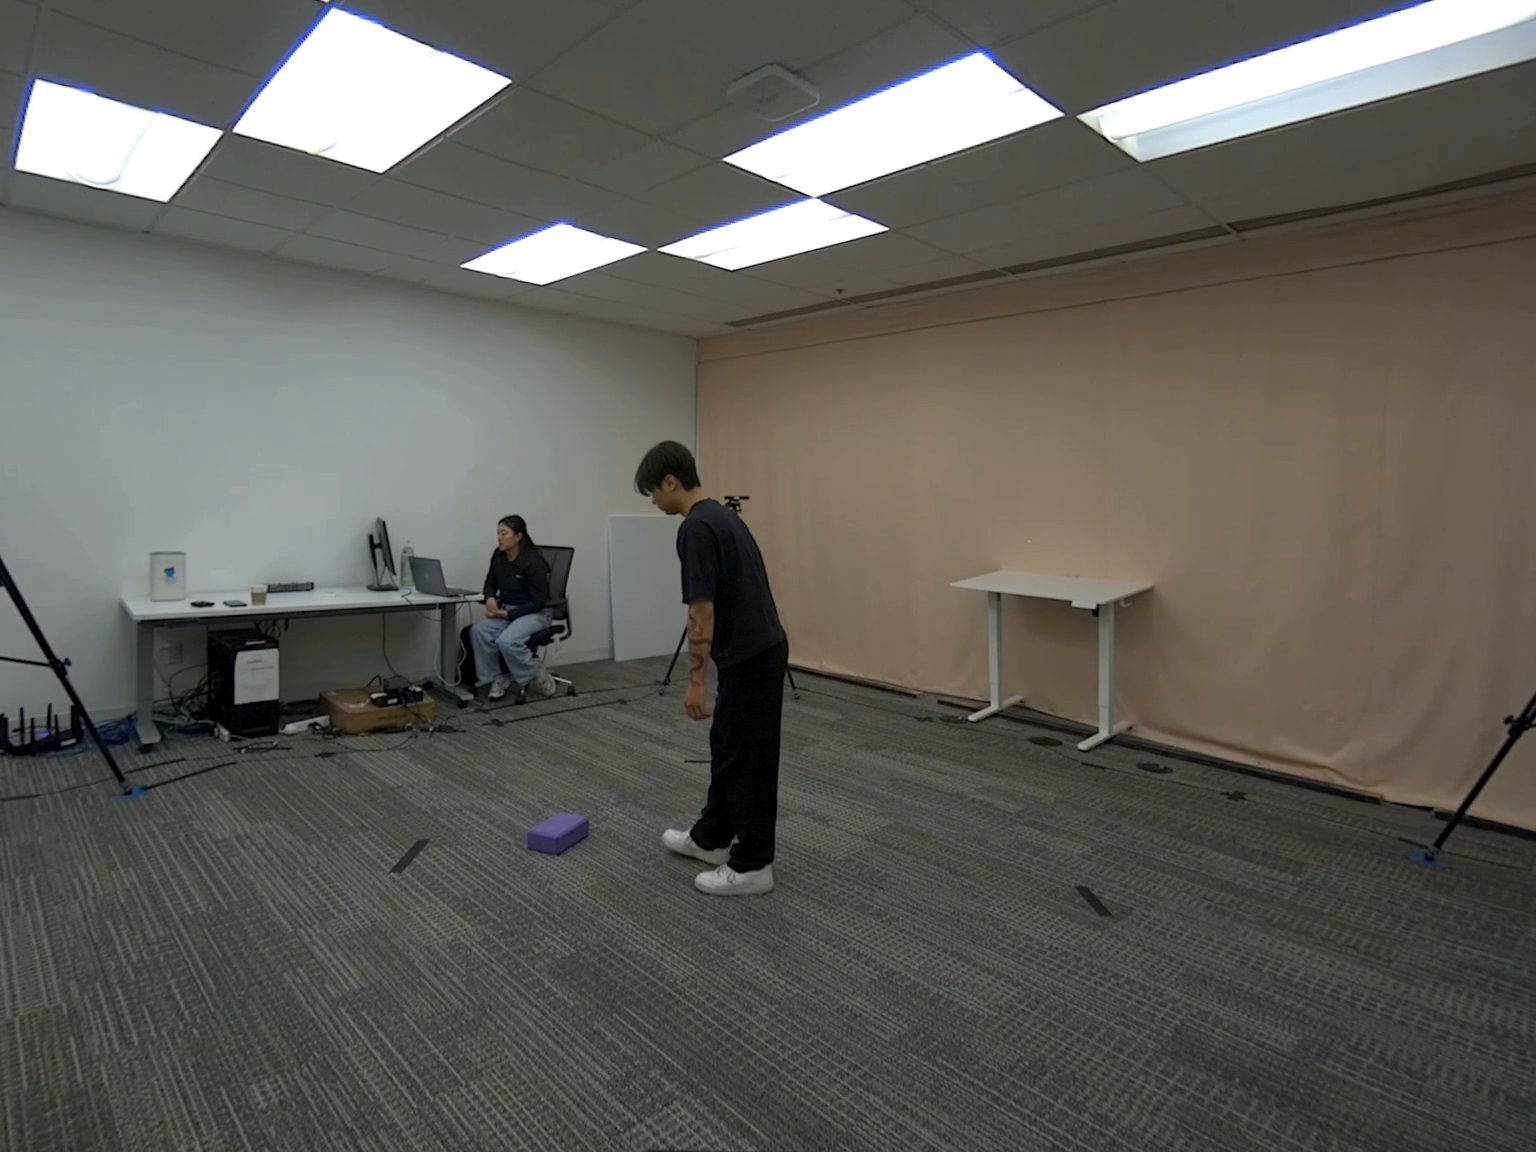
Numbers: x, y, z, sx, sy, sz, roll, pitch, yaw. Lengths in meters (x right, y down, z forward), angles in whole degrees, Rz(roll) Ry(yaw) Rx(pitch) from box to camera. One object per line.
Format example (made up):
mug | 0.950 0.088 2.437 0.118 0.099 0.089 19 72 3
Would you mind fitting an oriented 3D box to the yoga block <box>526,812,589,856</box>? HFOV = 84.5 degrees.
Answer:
yoga block | -0.844 1.026 3.360 0.151 0.076 0.226 4 5 21
